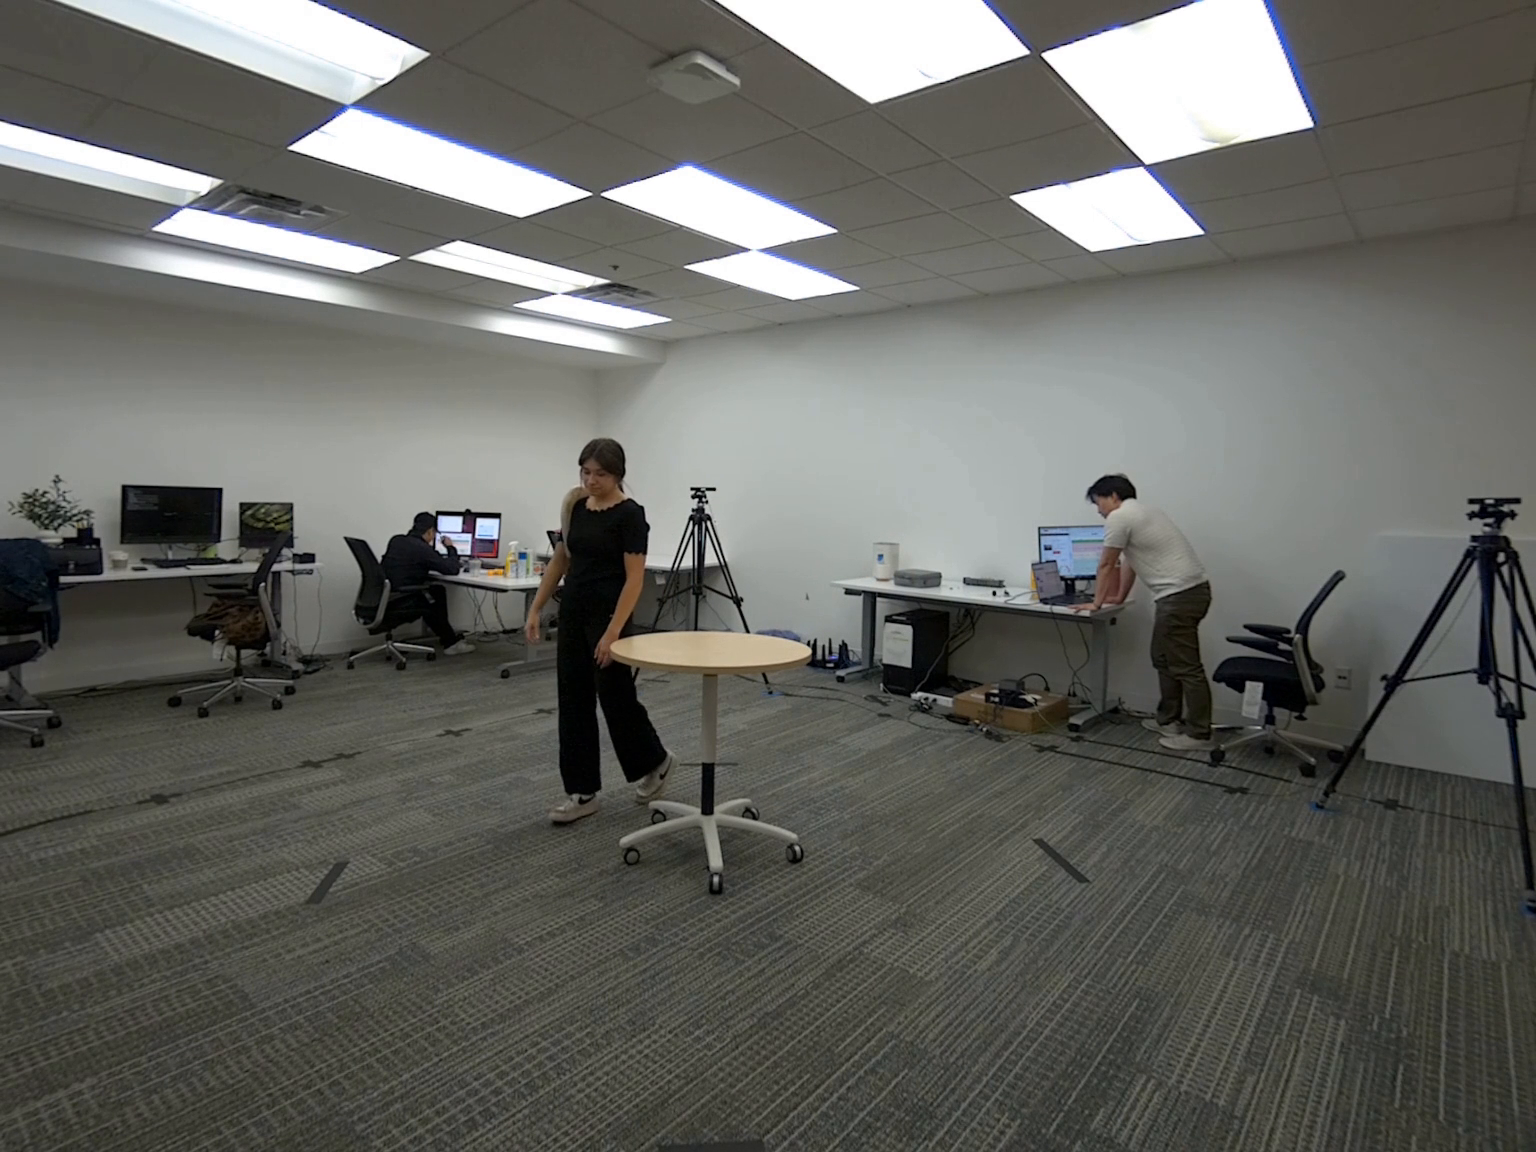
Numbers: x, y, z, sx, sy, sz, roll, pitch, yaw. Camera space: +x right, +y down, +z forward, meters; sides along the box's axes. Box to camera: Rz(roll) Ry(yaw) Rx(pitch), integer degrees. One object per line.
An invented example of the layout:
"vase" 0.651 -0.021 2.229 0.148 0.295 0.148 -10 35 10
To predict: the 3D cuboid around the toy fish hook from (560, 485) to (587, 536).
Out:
"toy fish hook" -0.832 -0.153 3.713 0.050 0.501 0.220 13 14 28
